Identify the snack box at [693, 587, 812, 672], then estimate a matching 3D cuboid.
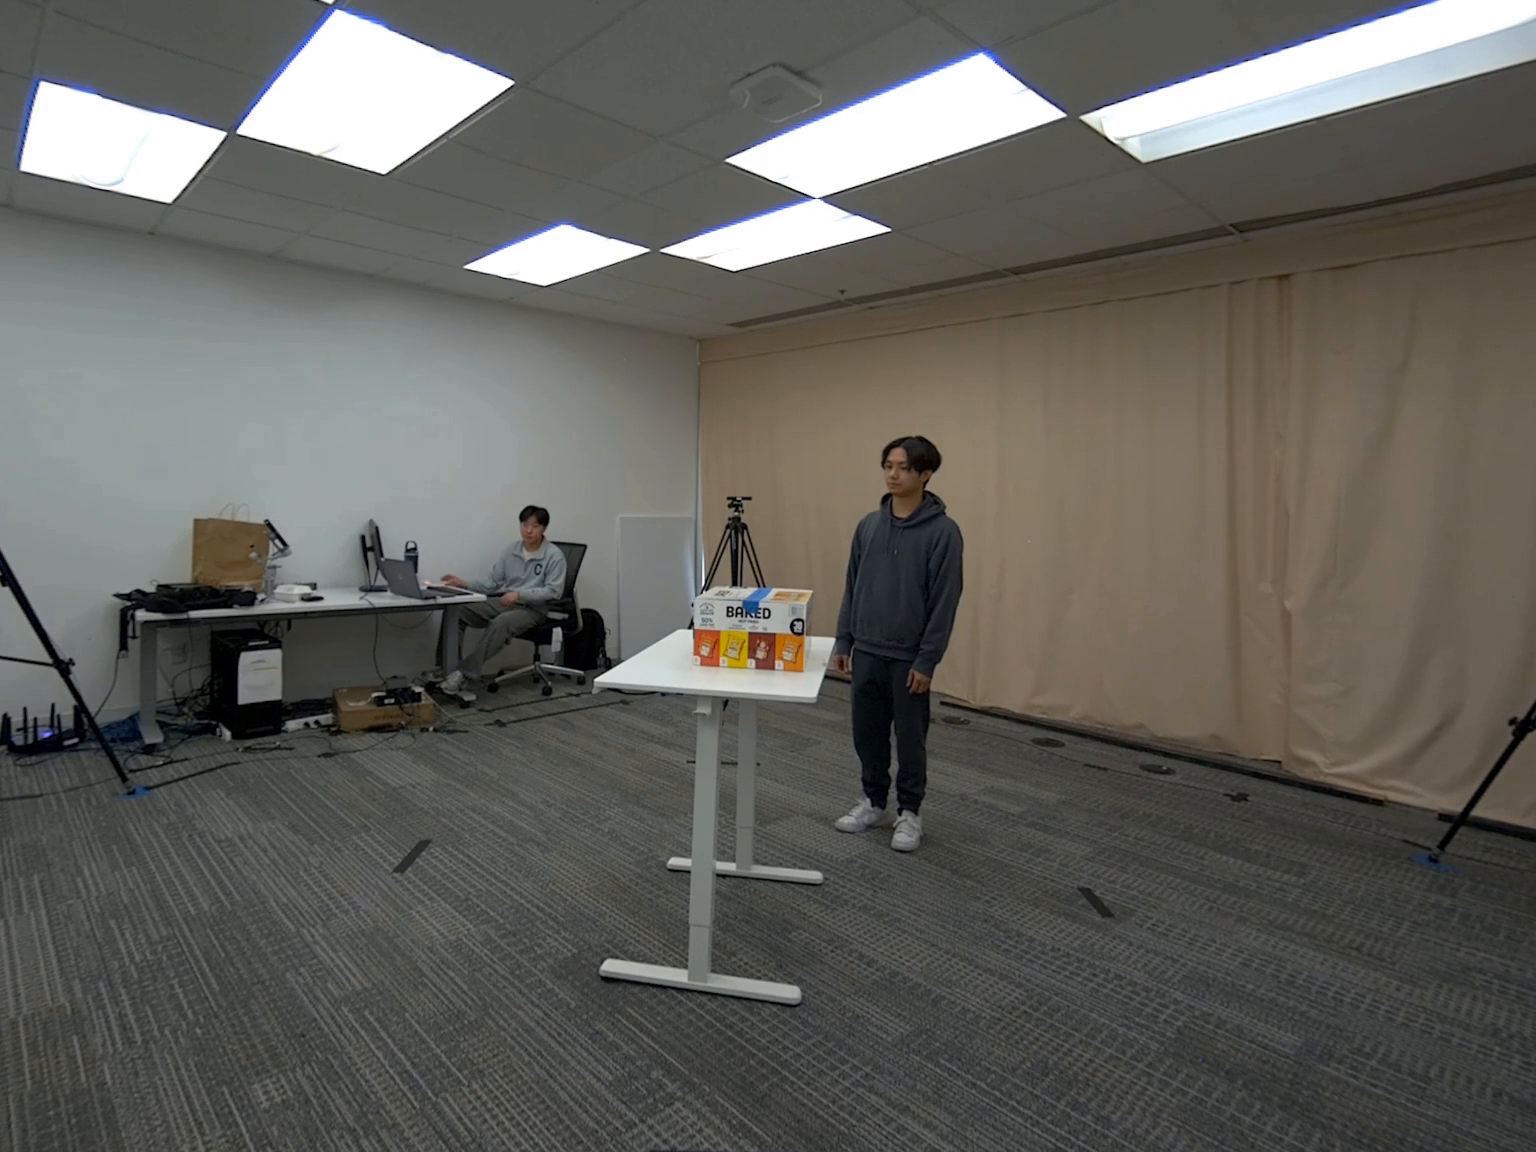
[{"bbox_3d":[-0.042,0.162,2.701,0.343,0.205,0.403,3,5,8],"label":"snack box"}]
